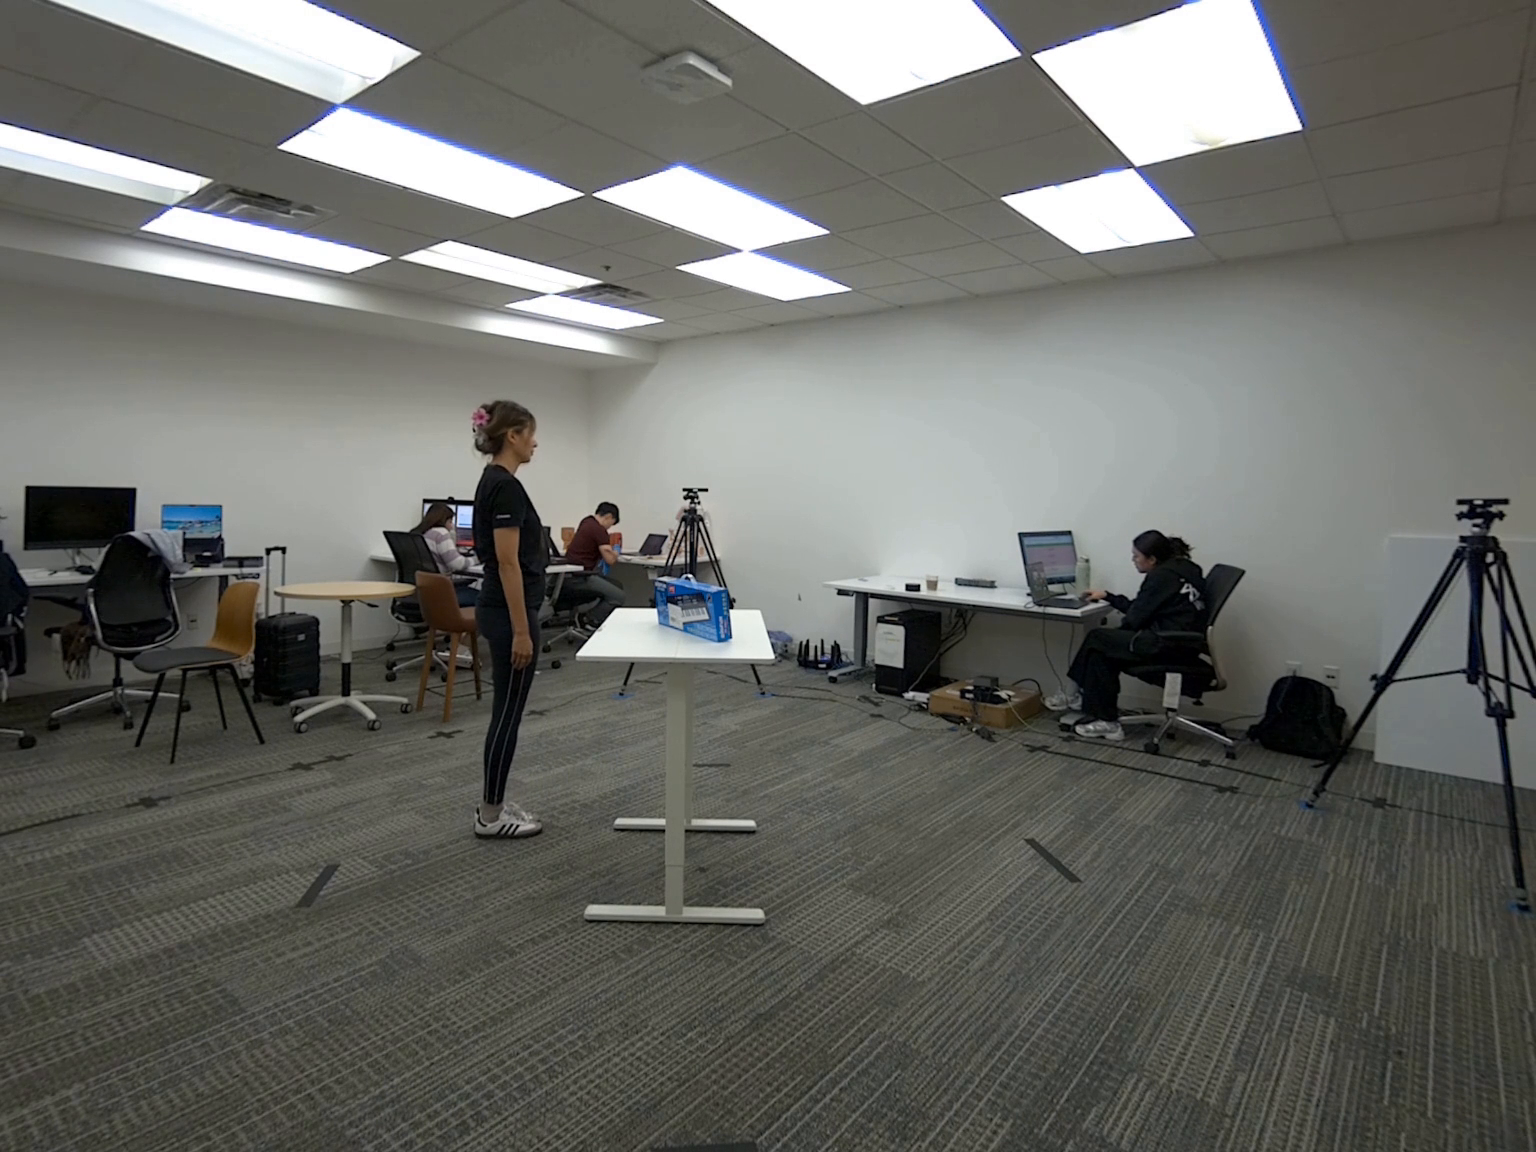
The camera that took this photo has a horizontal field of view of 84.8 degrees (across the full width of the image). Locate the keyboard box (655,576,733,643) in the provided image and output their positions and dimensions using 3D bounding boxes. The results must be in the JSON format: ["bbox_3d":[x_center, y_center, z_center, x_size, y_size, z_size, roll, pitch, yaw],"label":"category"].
[{"bbox_3d":[-0.282,0.110,2.995,0.058,0.174,0.451,-9,10,-33],"label":"keyboard box"}]
